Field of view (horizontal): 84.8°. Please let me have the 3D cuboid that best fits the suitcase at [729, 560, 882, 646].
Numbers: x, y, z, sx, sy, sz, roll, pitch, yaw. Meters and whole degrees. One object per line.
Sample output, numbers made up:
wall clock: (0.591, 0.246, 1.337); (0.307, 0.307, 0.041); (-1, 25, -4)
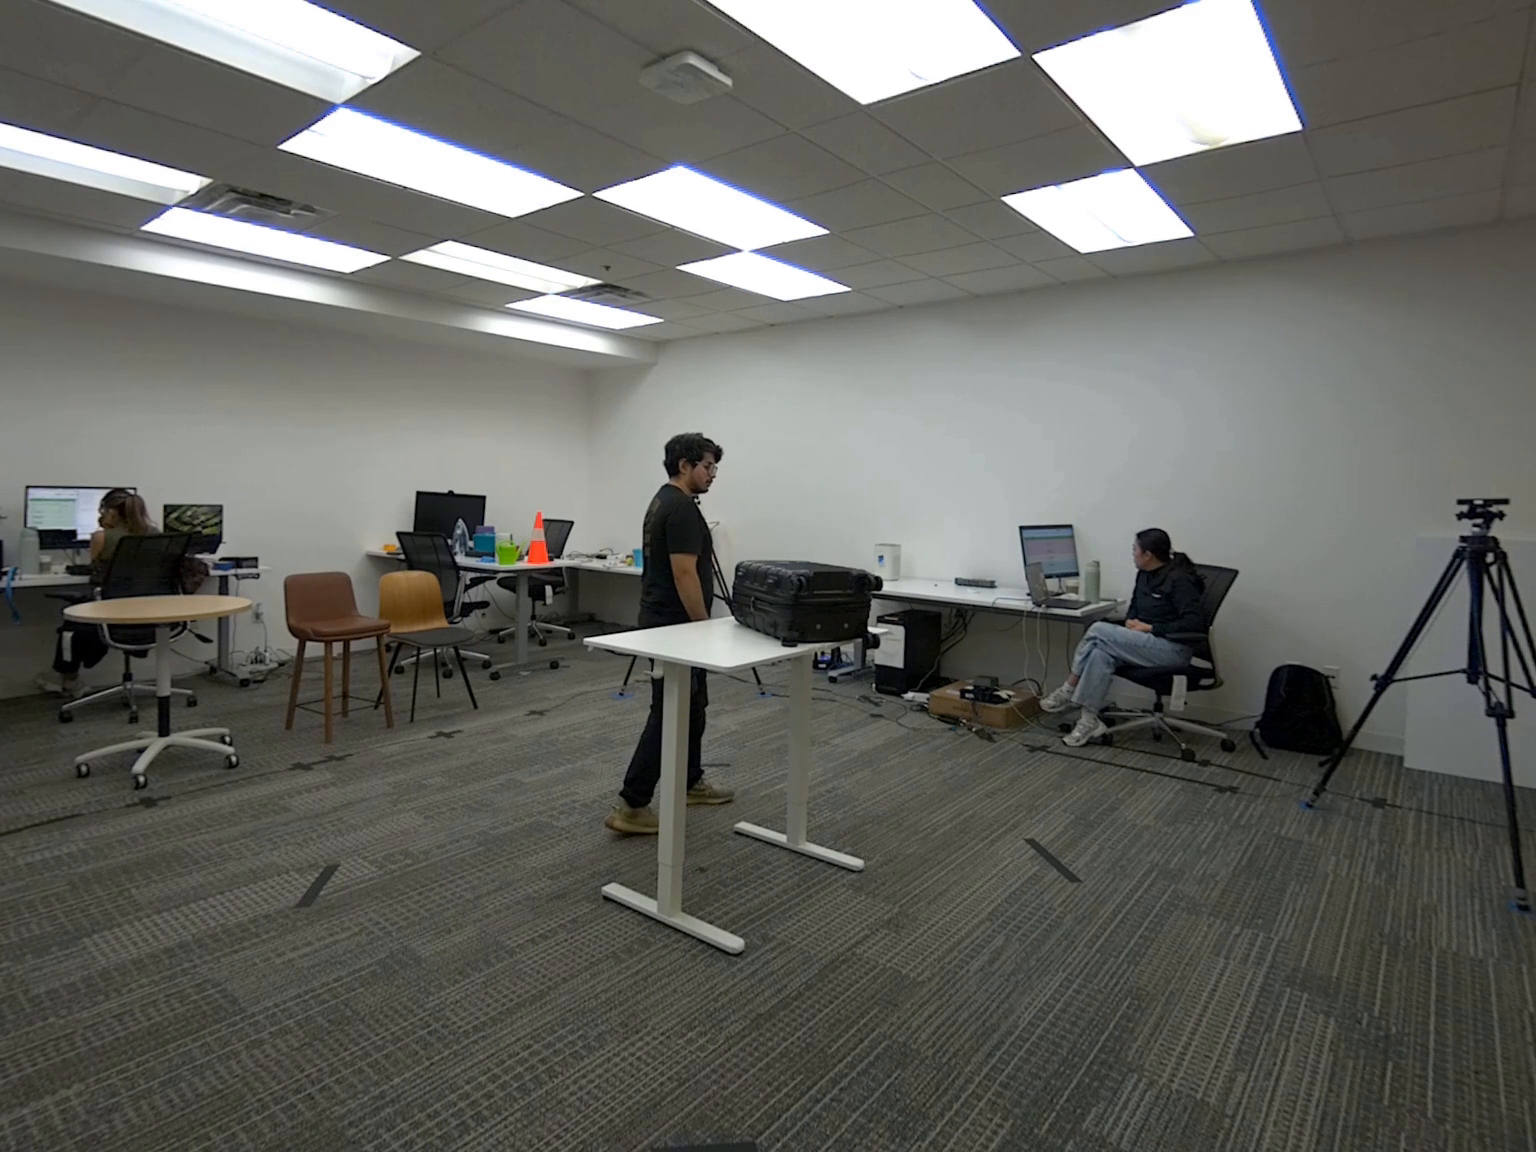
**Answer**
suitcase: (0.105, 0.083, 3.062); (0.367, 0.247, 0.564); (-1, 6, -24)
